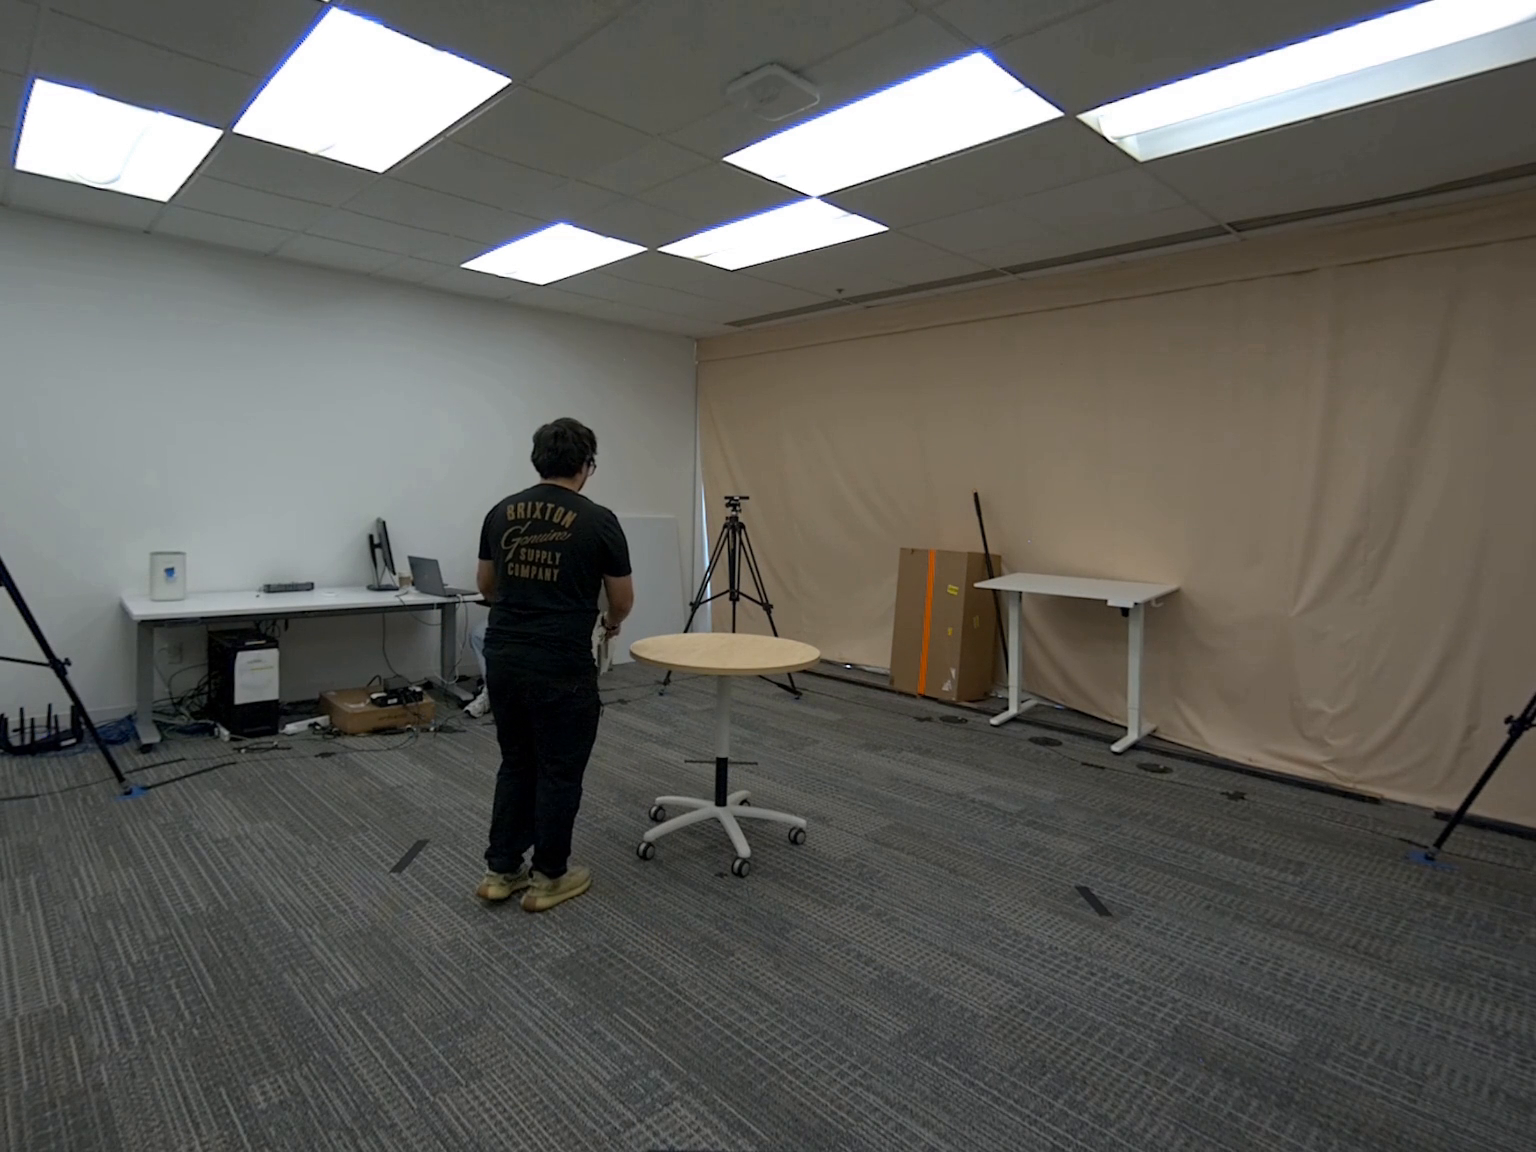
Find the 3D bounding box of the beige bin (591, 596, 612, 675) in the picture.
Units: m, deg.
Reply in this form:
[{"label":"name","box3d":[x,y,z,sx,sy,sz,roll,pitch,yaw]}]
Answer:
[{"label":"beige bin","box3d":[-0.792,0.197,3.247,0.424,0.185,0.384,4,40,5]}]
